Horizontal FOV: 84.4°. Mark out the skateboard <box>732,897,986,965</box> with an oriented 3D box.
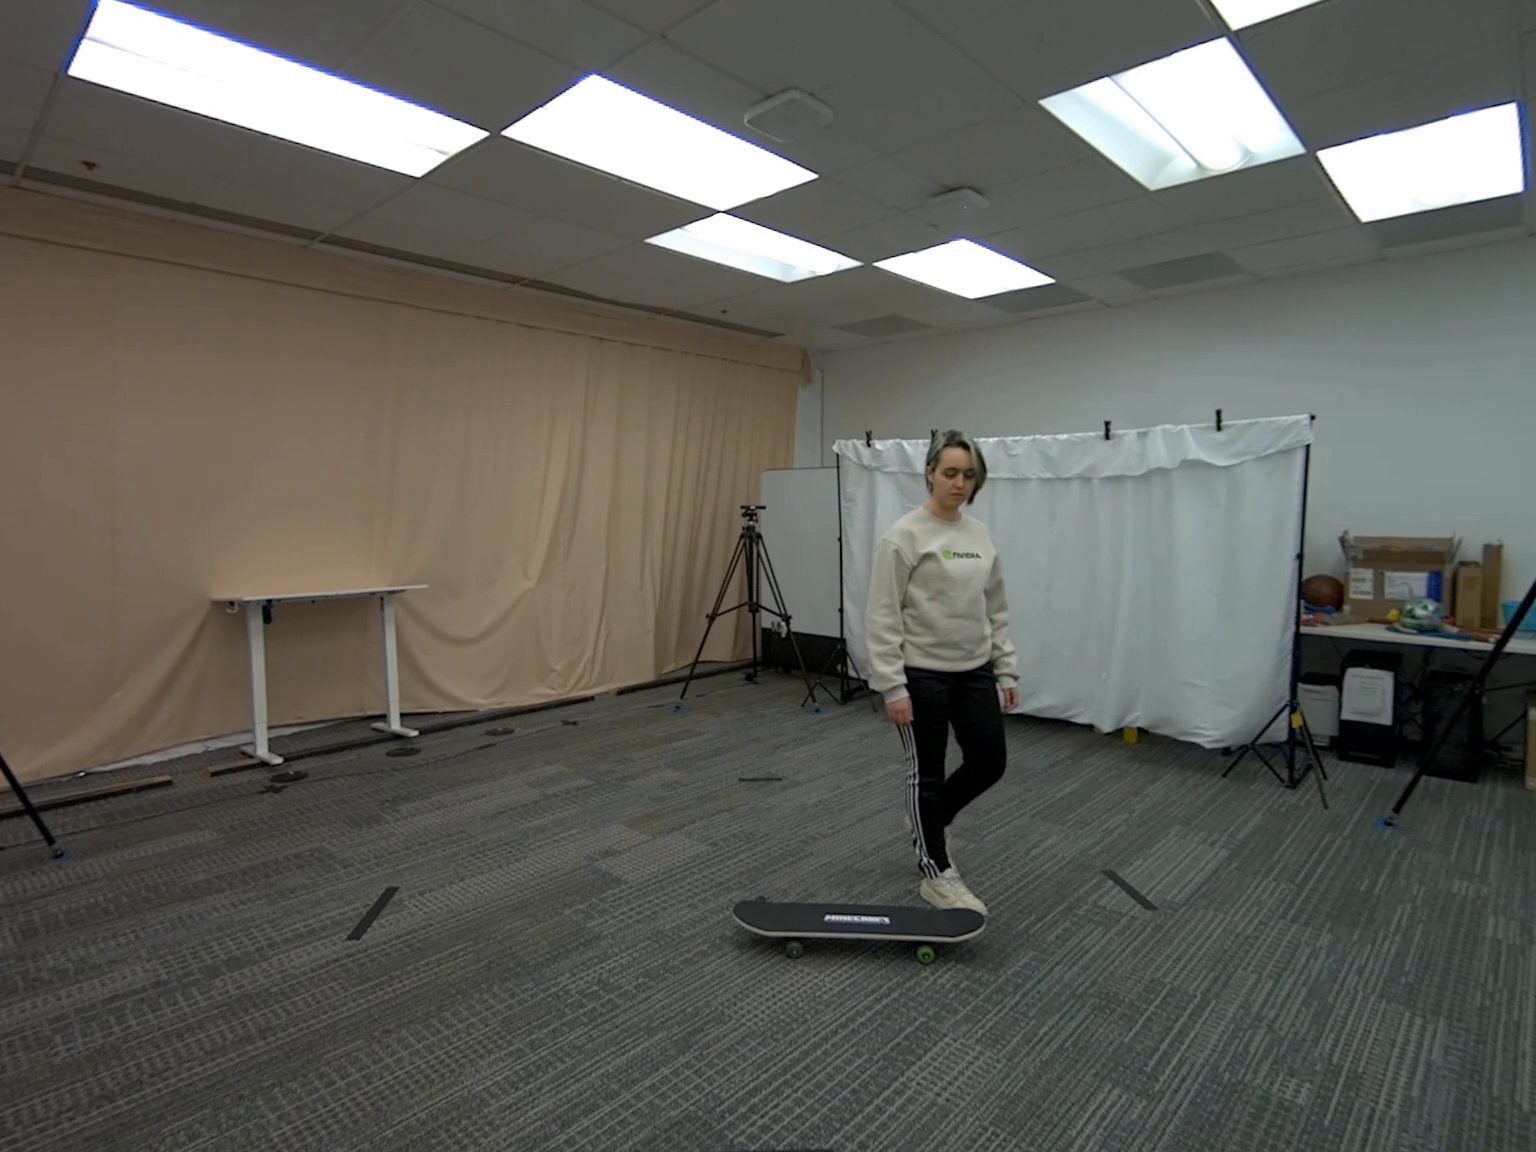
[{"bbox_3d":[0.287,1.113,2.648,0.789,0.110,0.193,0,5,5],"label":"skateboard"}]
